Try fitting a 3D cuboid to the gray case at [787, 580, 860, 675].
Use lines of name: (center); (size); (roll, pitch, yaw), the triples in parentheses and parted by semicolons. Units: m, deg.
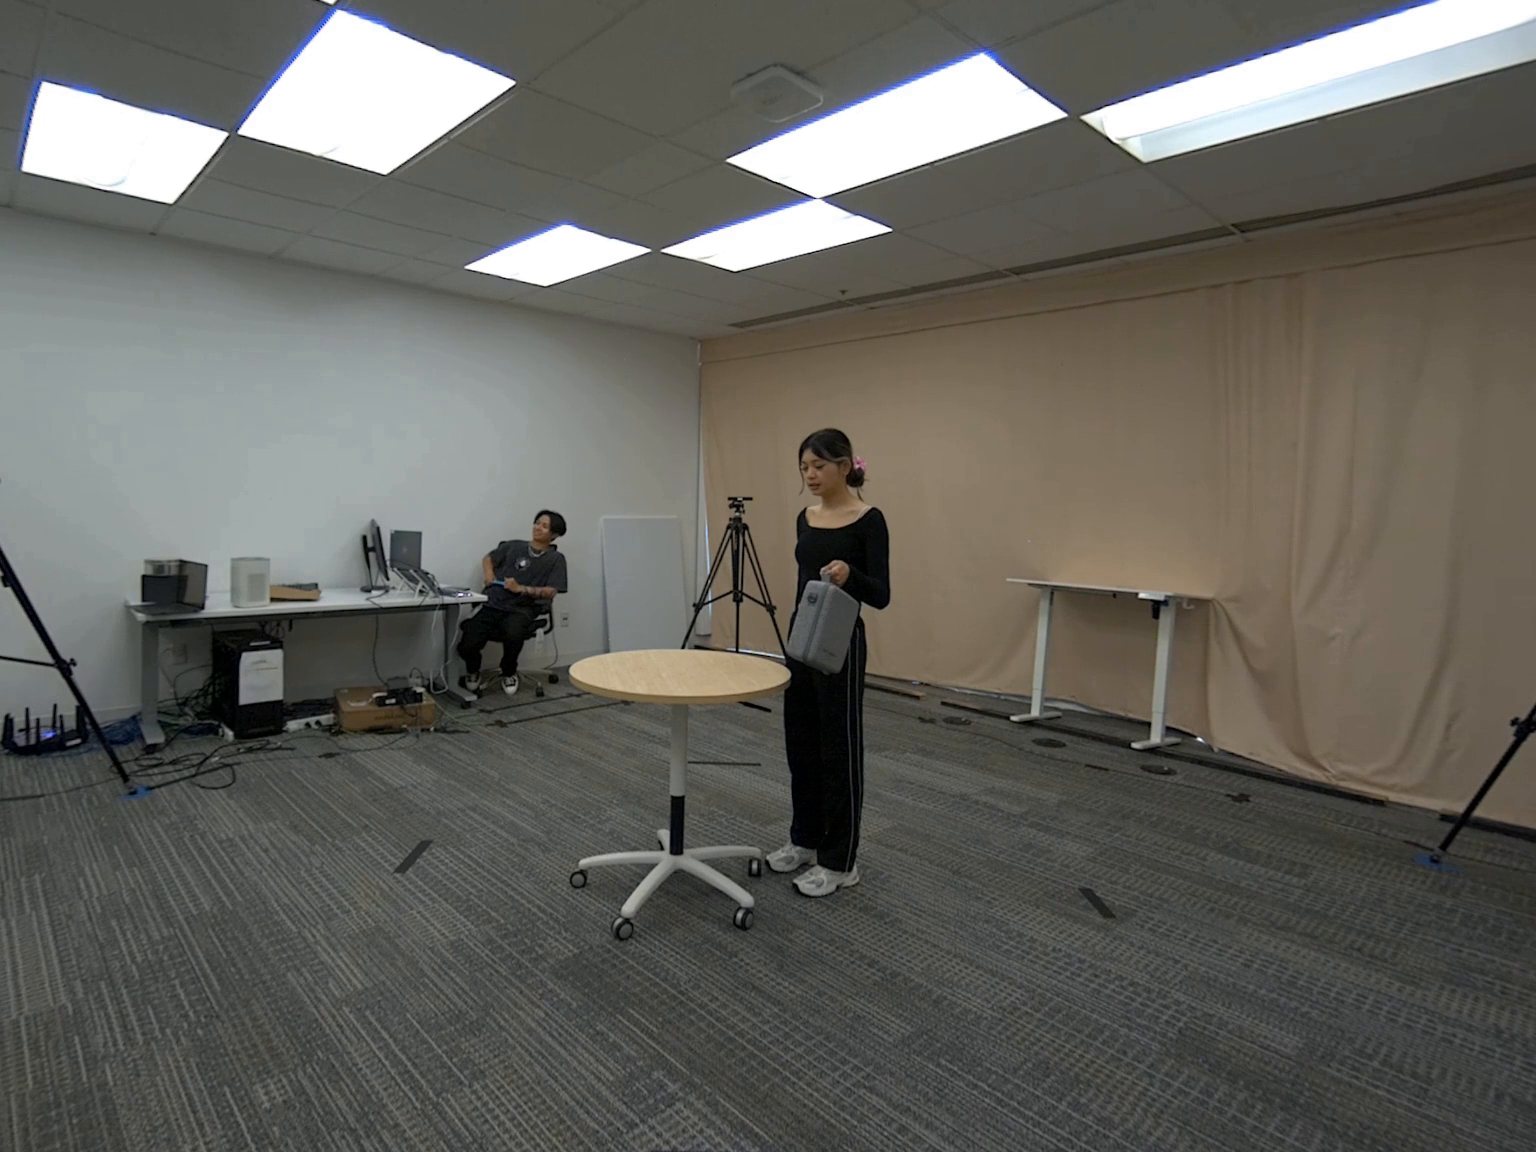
gray case: (0.171, 0.160, 2.634); (0.107, 0.262, 0.250); (11, -11, 28)
